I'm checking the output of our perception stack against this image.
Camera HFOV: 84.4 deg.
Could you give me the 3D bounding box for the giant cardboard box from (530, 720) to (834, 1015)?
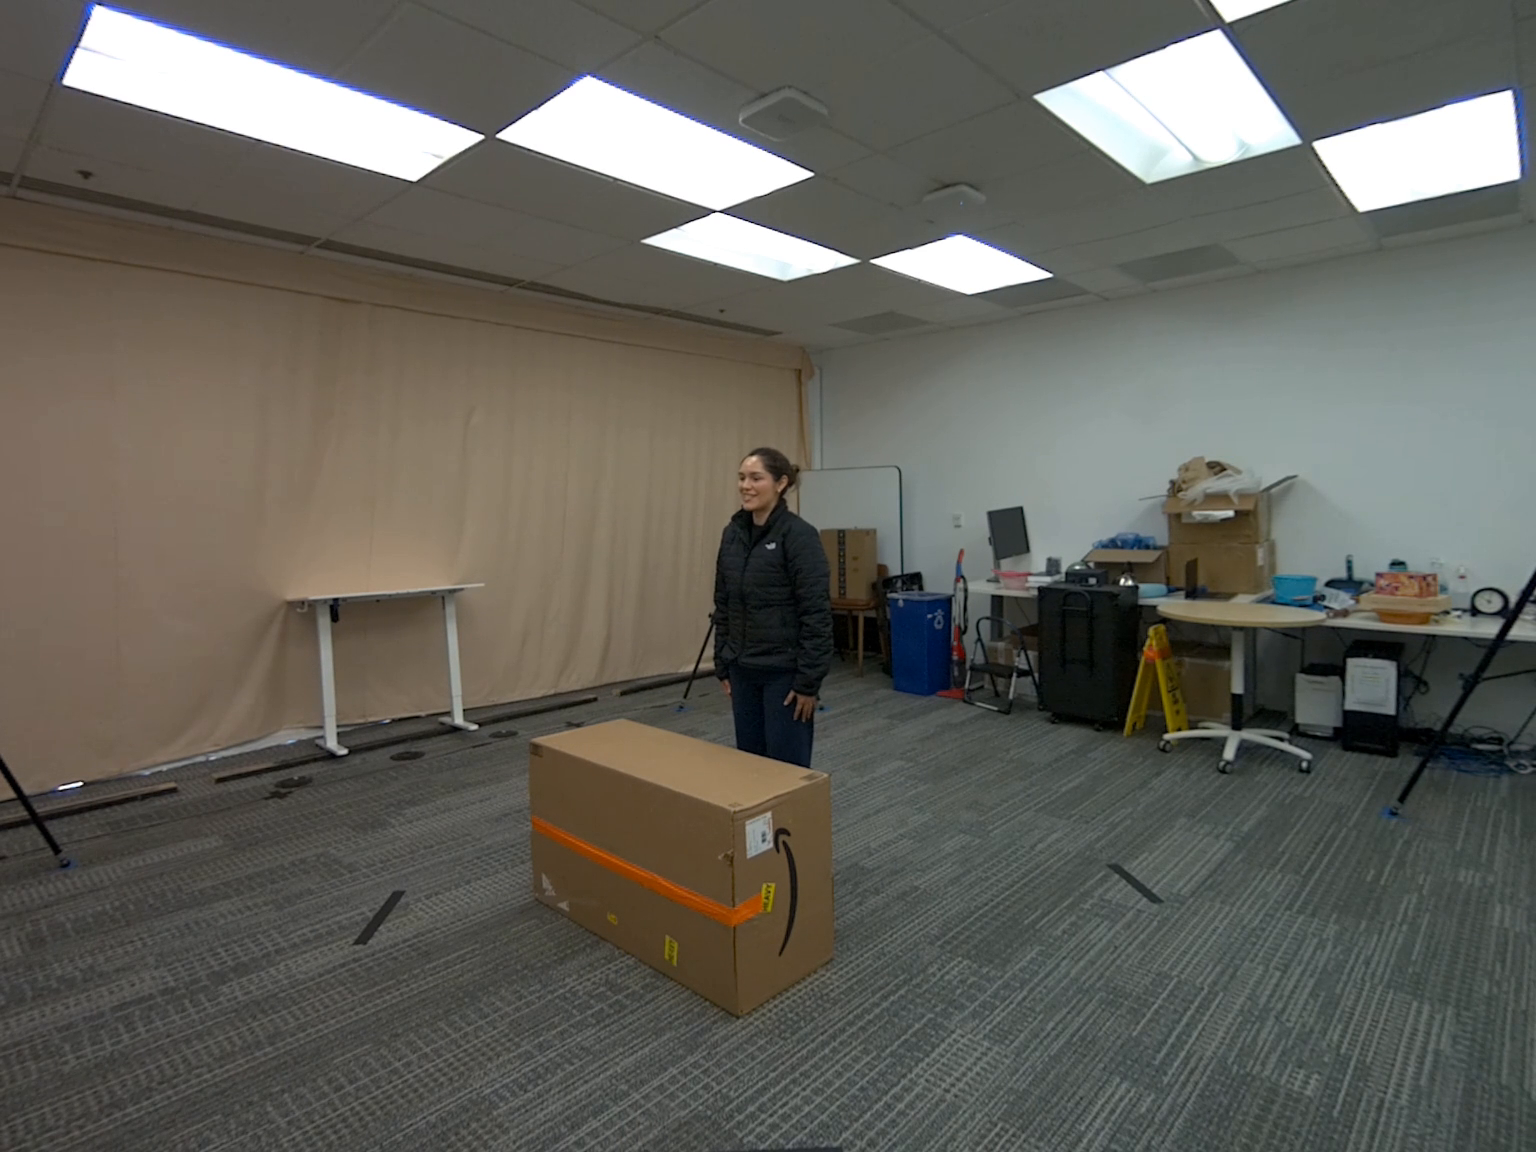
[{"bbox_3d":[-0.313,0.879,2.771,1.061,0.583,0.433,3,4,44],"label":"giant cardboard box"}]
